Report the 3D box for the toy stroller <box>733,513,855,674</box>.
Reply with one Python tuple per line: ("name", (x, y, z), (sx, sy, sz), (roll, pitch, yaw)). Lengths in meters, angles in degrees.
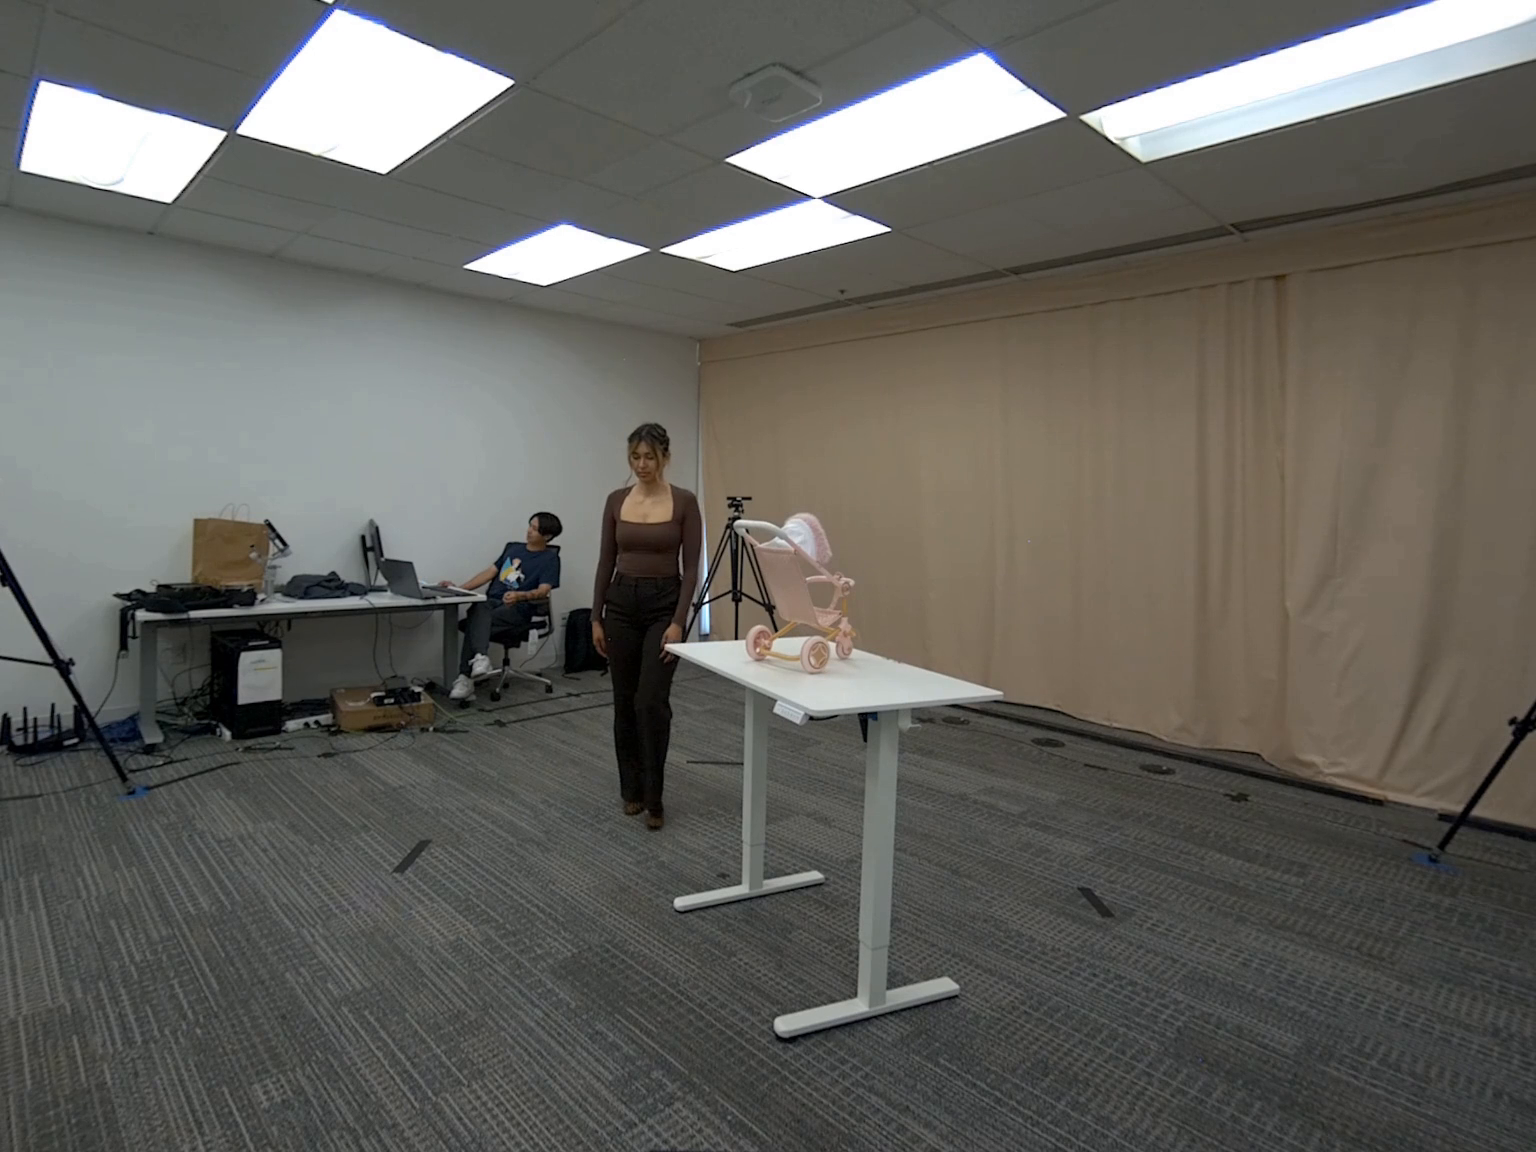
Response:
("toy stroller", (0.110, 0.051, 2.590), (0.336, 0.530, 0.288), (-18, 14, -34))
